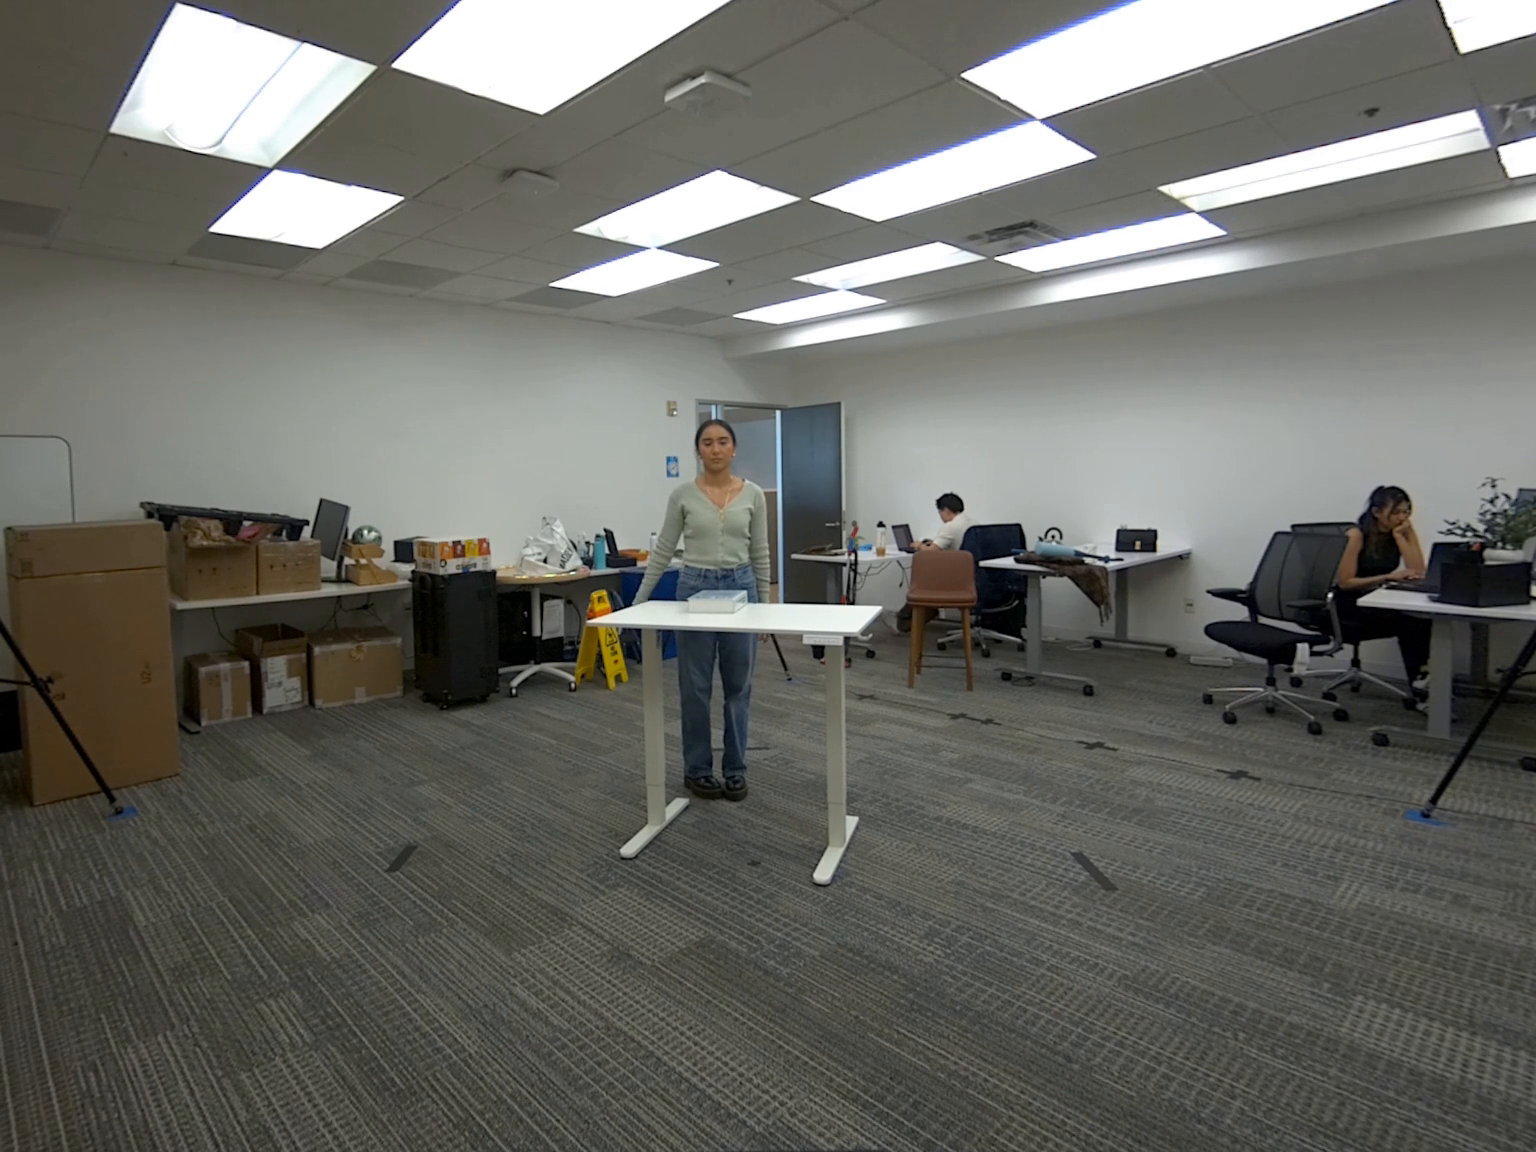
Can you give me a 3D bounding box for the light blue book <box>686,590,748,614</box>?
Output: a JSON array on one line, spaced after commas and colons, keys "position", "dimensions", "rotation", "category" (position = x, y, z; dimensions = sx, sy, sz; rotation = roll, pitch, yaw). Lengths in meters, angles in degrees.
[{"position": [-0.209, 0.105, 3.421], "dimensions": [0.193, 0.059, 0.259], "rotation": [-1, 6, 11], "category": "light blue book"}]
